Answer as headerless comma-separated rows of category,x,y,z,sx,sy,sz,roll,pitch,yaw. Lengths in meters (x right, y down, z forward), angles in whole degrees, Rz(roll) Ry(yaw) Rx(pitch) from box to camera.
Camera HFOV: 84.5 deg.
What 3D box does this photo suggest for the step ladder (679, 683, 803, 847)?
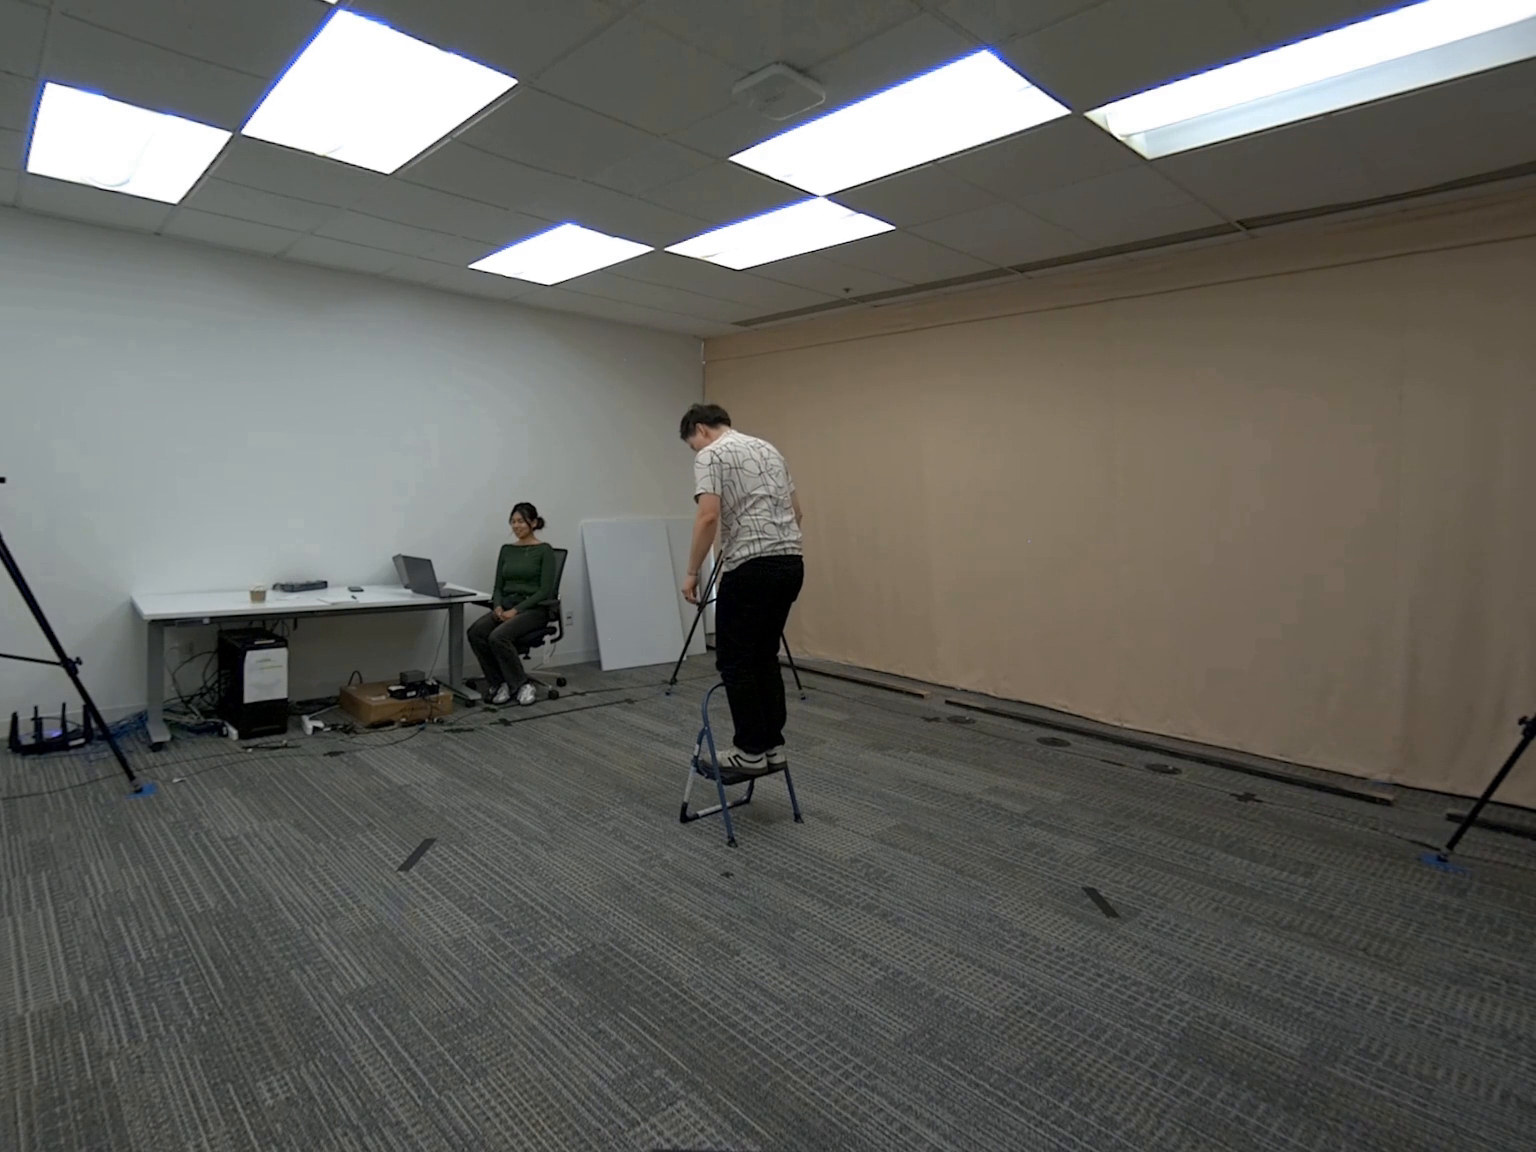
step ladder,-0.117,0.754,3.602,0.358,0.605,0.421,4,4,44
